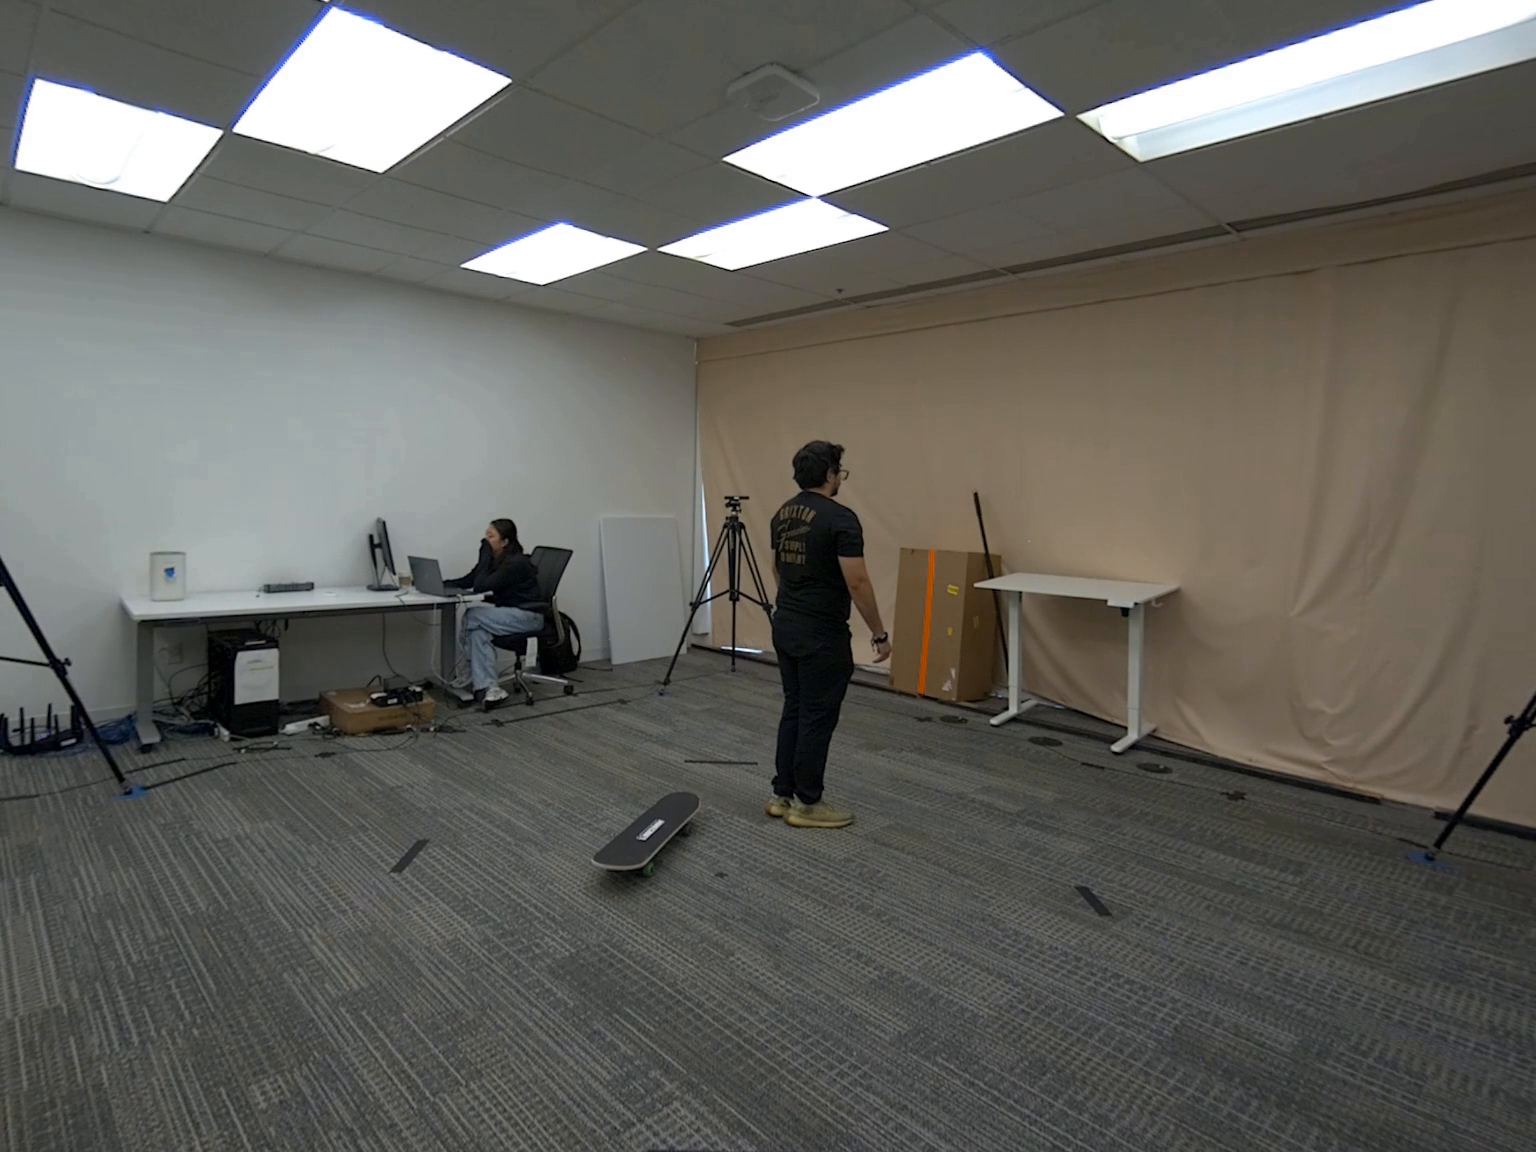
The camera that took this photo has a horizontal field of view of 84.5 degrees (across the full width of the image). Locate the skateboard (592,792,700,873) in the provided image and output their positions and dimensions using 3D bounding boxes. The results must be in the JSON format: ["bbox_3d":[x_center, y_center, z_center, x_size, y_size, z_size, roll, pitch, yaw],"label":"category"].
[{"bbox_3d":[-0.464,1.022,3.291,0.196,0.110,0.777,3,5,14],"label":"skateboard"}]
